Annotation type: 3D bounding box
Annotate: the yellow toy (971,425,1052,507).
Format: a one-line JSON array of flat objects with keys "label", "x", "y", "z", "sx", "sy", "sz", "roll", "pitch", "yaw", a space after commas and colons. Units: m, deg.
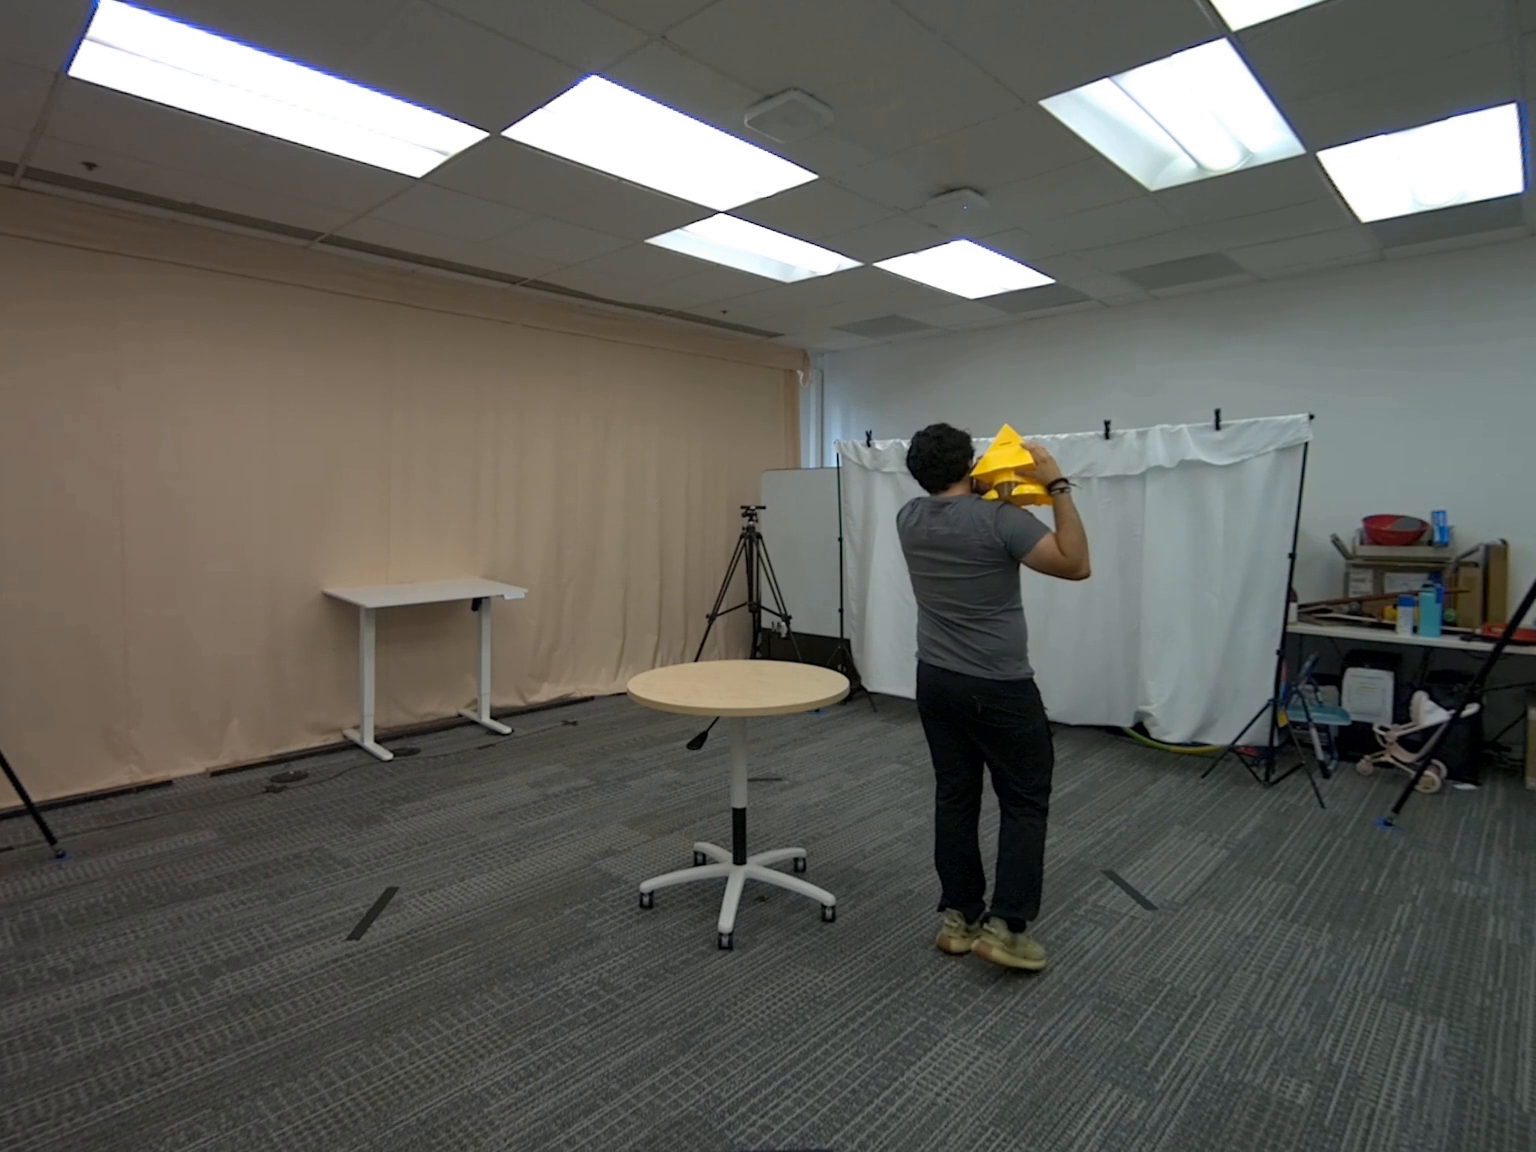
[{"label": "yellow toy", "x": 0.760, "y": -0.335, "z": 2.545, "sx": 0.186, "sy": 0.232, "sz": 0.210, "roll": 16, "pitch": -17, "yaw": -41}]
